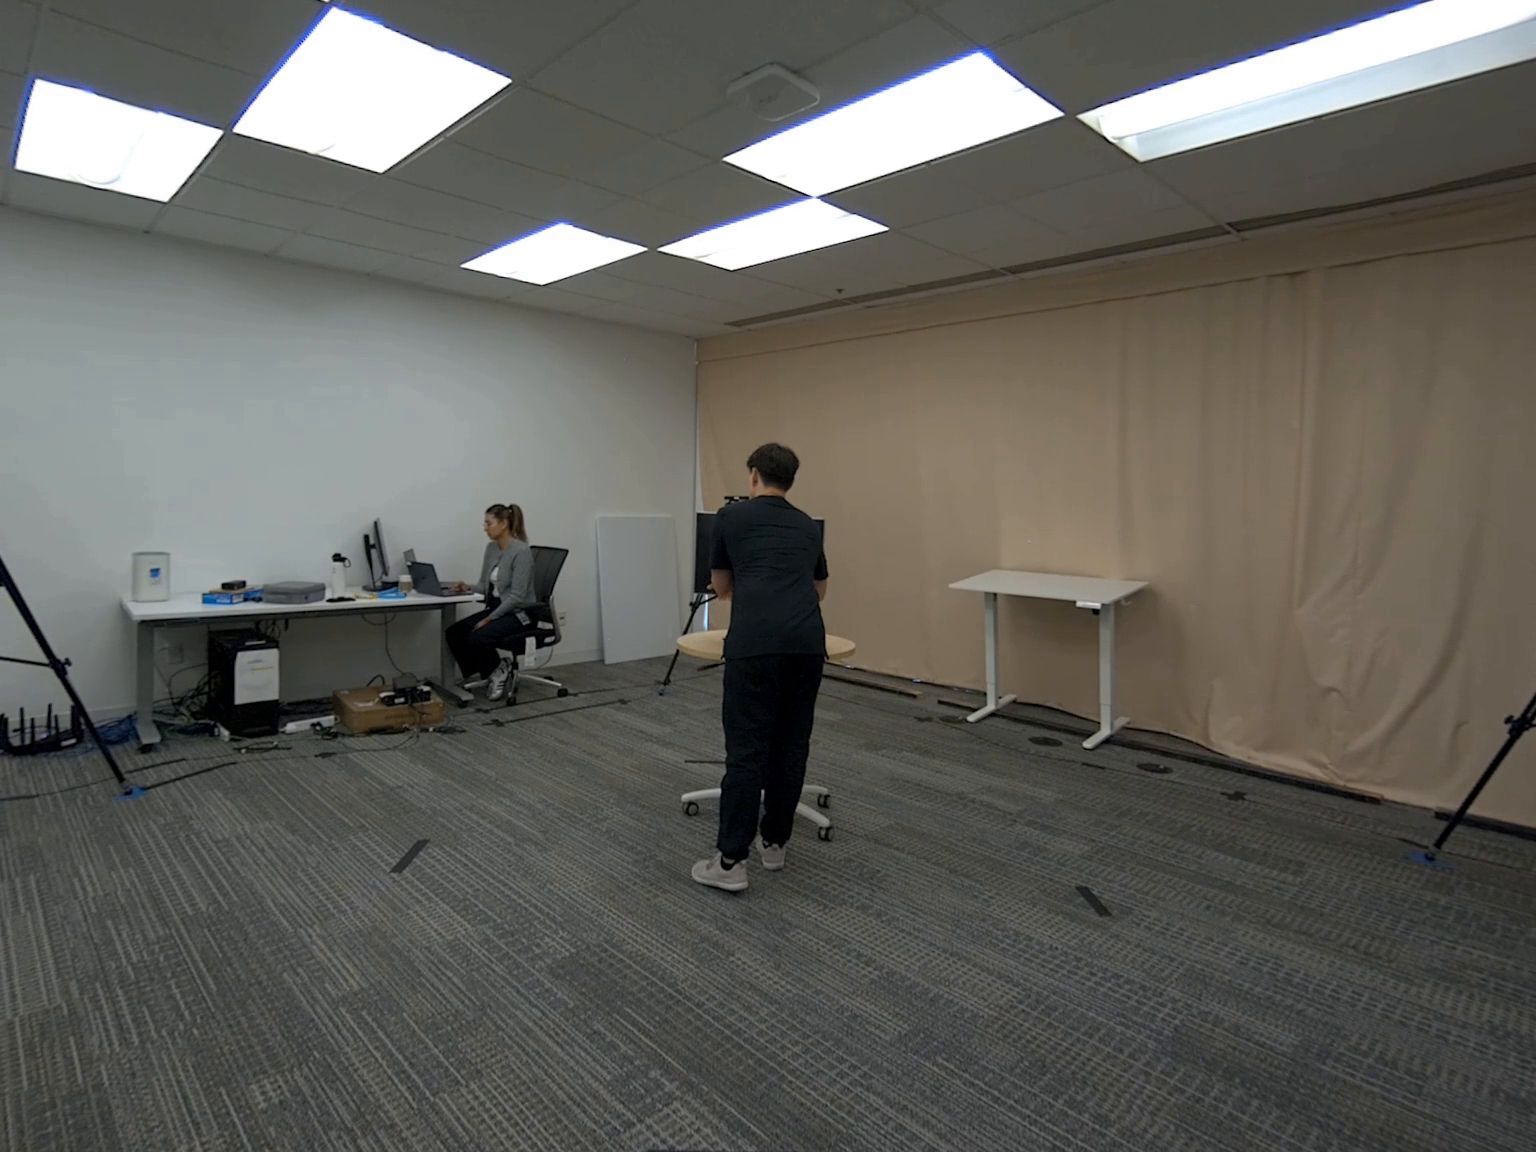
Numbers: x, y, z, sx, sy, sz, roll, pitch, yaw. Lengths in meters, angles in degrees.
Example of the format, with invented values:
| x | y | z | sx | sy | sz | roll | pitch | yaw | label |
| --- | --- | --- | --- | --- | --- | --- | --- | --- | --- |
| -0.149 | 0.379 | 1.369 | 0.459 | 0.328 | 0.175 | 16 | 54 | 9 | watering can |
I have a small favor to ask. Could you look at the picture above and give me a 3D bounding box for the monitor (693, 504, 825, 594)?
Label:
| x | y | z | sx | sy | sz | roll | pitch | yaw | label |
| --- | --- | --- | --- | --- | --- | --- | --- | --- | --- |
| -0.048 | 0.014 | 3.579 | 0.543 | 0.523 | 0.185 | 4 | -3 | 8 | monitor |
